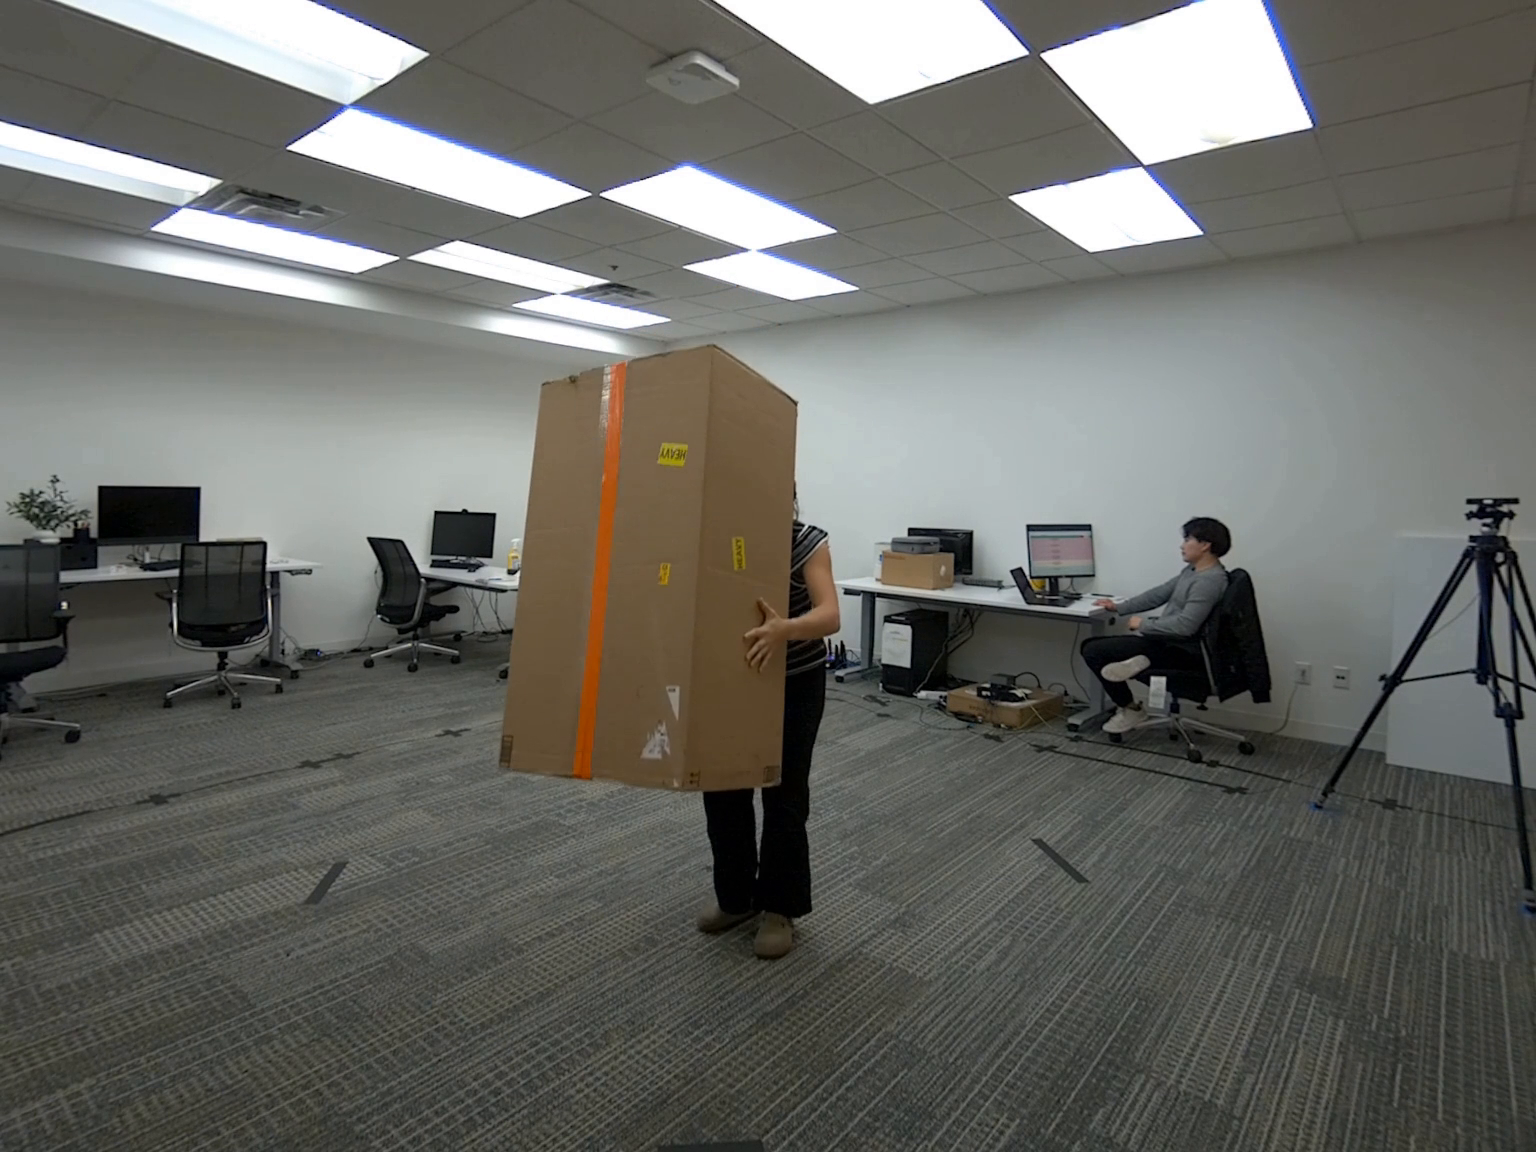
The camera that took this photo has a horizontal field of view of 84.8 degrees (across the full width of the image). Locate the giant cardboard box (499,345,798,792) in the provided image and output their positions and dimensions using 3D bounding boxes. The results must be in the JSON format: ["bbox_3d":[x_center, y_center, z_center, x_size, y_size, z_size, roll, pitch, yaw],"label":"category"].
[{"bbox_3d":[-0.303,0.008,2.221,0.593,1.037,0.410,-4,-14,32],"label":"giant cardboard box"}]
